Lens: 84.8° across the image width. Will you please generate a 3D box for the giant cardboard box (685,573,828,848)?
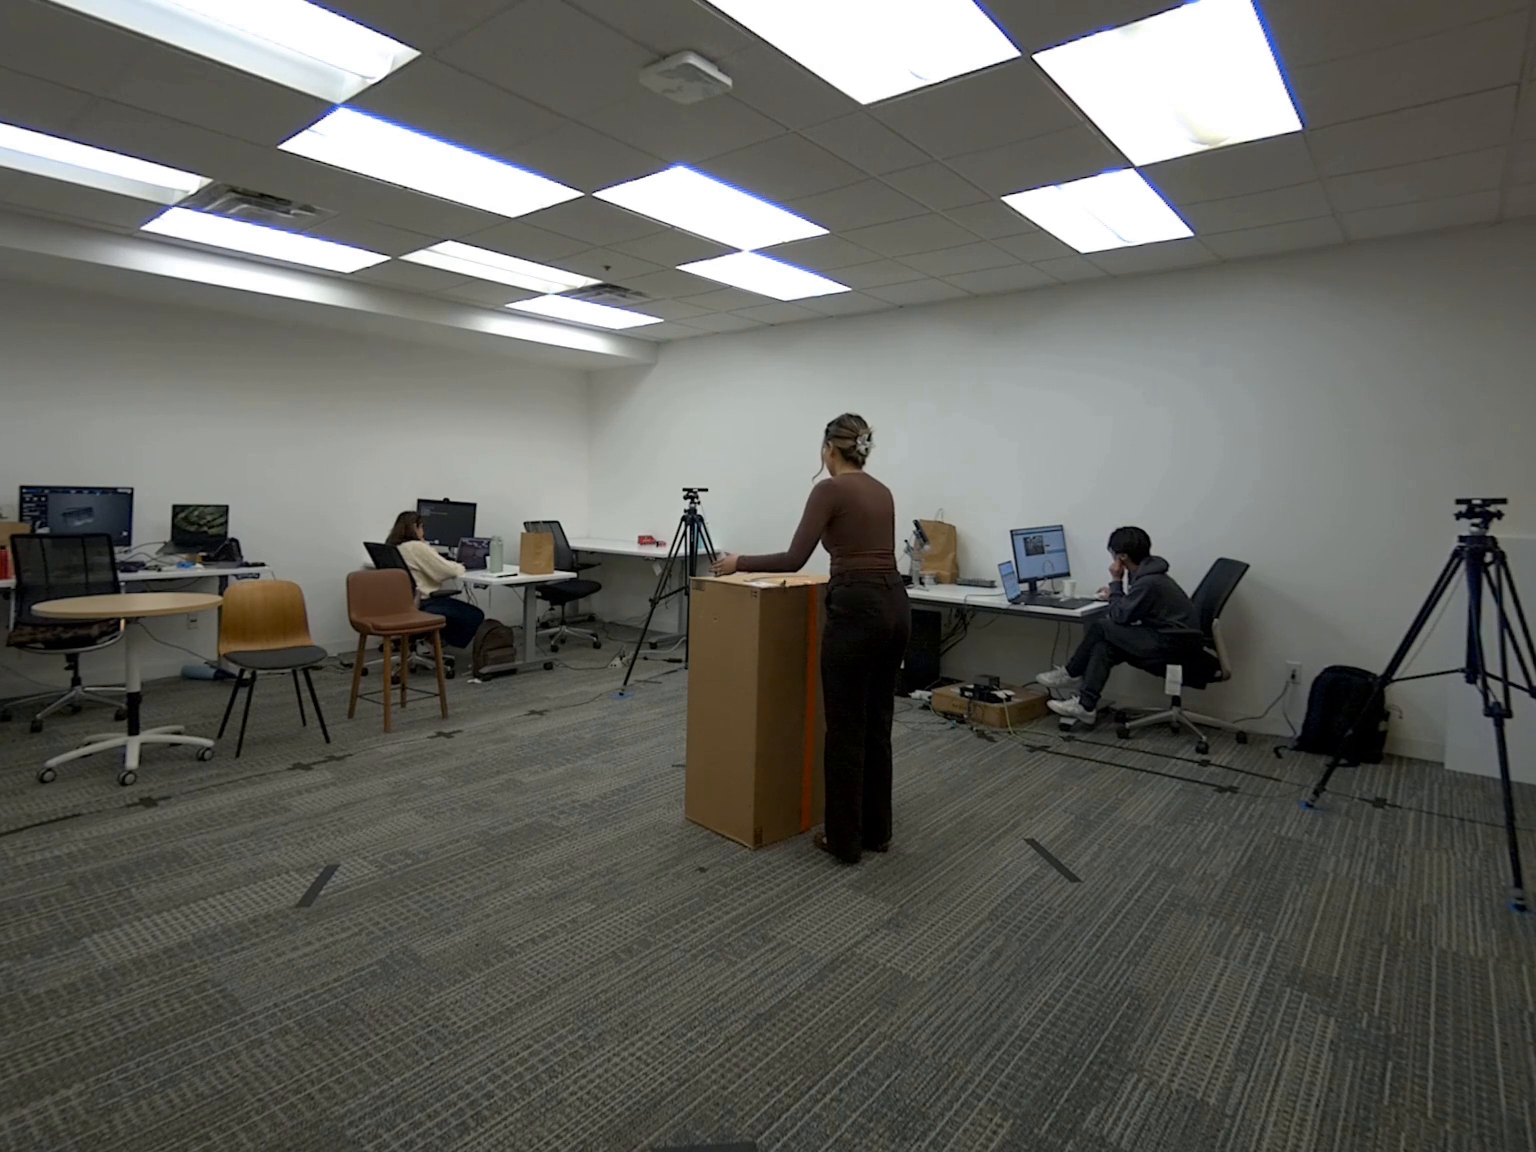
[{"bbox_3d":[-0.004,0.514,3.604,0.566,1.024,0.462,-2,5,-43],"label":"giant cardboard box"}]
